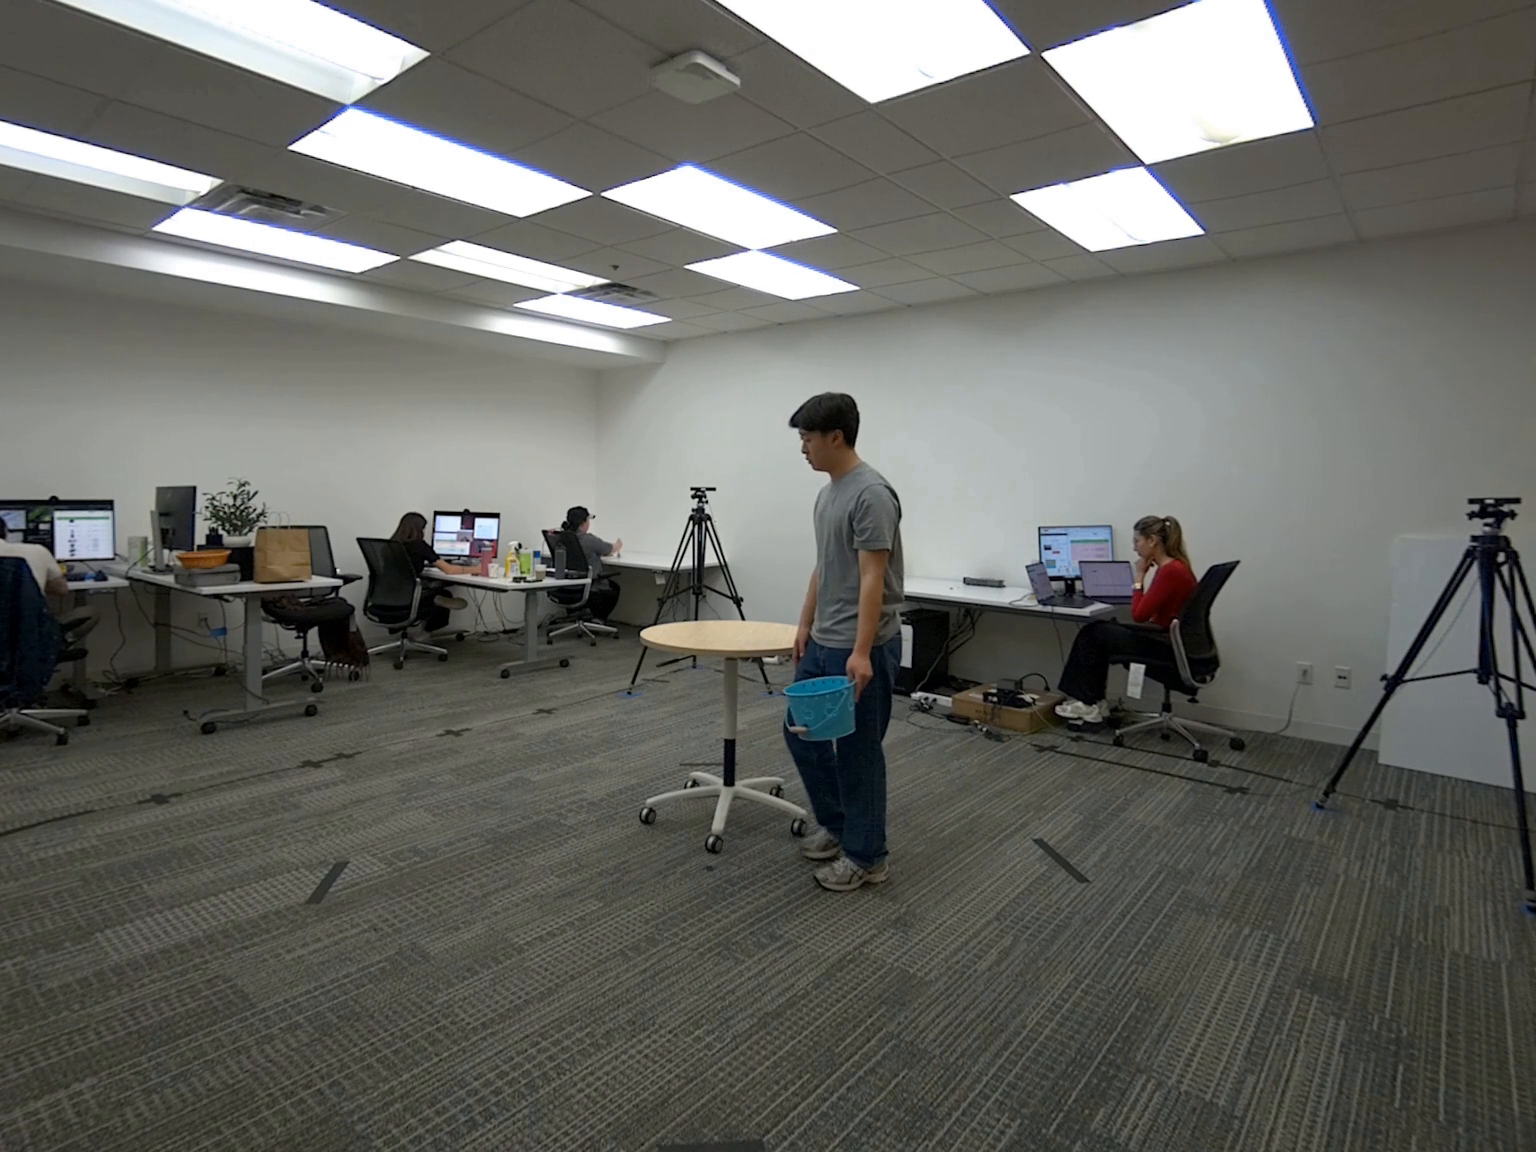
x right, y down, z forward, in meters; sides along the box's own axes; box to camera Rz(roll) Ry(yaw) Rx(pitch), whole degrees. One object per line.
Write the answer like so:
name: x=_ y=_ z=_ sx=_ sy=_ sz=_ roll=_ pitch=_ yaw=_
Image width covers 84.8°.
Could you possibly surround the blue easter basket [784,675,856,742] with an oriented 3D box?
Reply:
blue easter basket: x=0.161 y=0.418 z=2.718 sx=0.243 sy=0.155 sz=0.244 roll=-7 pitch=3 yaw=-2
